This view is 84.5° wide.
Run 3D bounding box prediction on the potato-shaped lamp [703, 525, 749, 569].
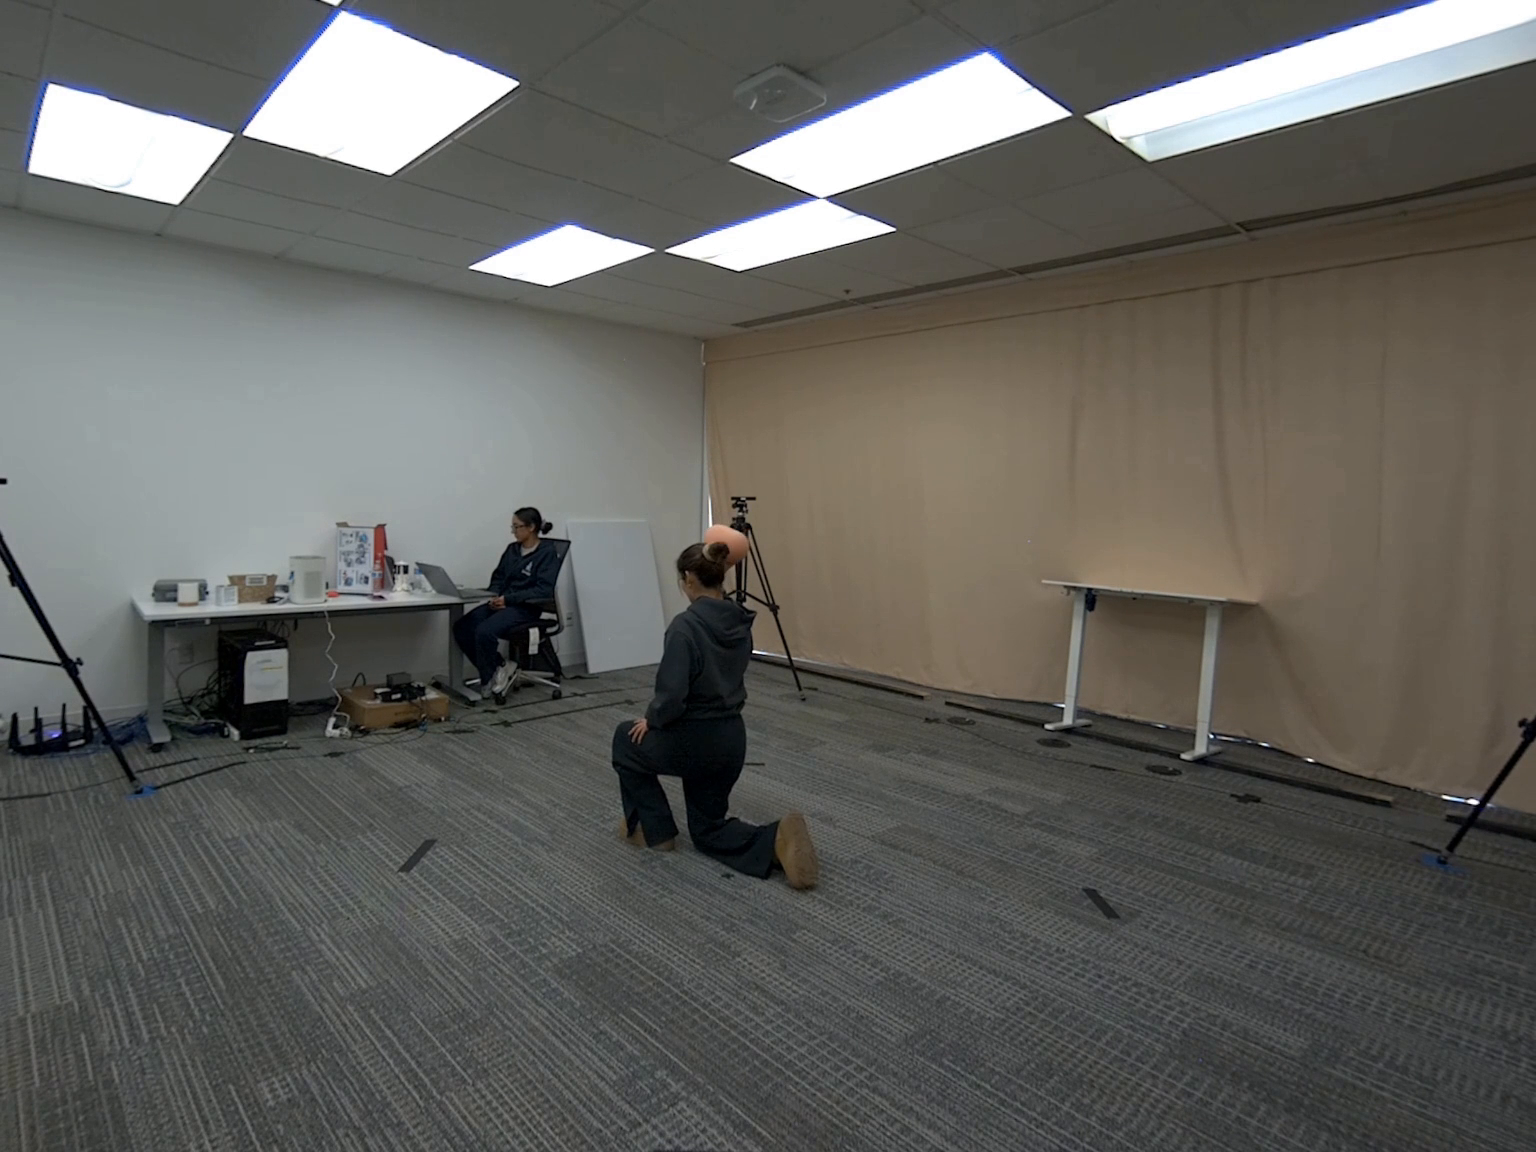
[{"bbox_3d":[-0.194,-0.137,3.627,0.200,0.165,0.169,11,0,13],"label":"potato-shaped lamp"}]
